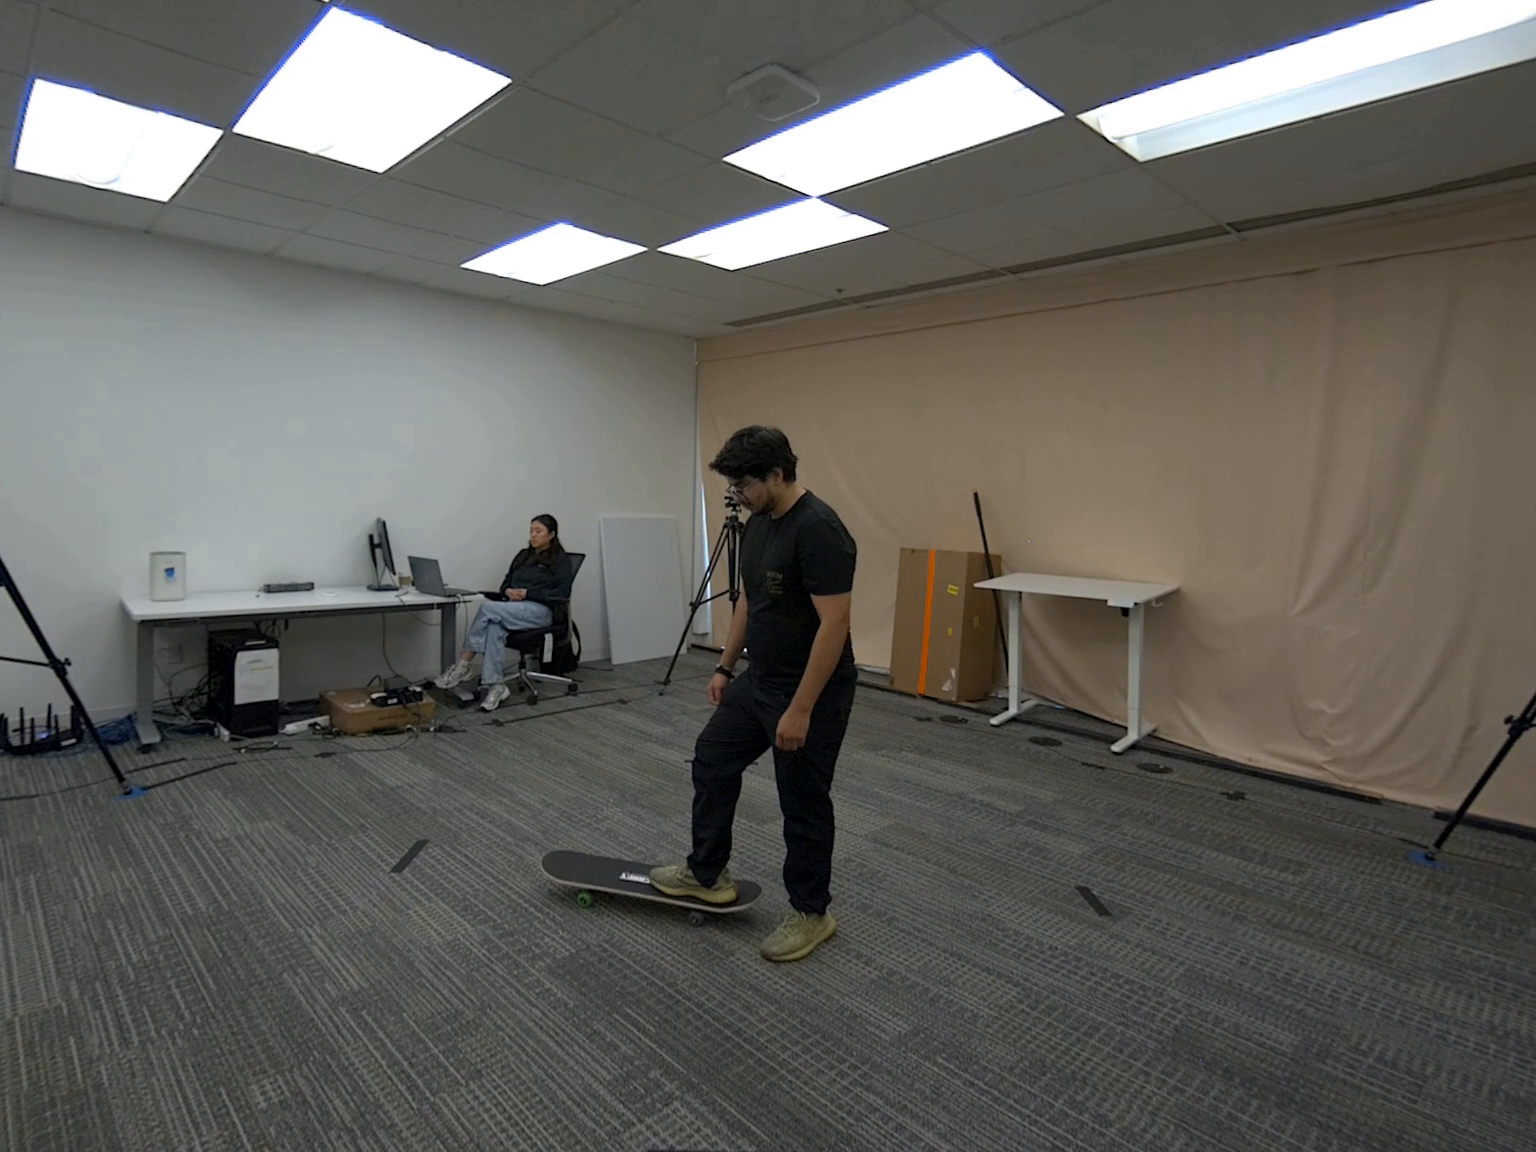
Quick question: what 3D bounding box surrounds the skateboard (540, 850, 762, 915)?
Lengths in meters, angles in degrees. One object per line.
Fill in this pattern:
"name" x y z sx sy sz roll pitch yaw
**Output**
"skateboard" -0.415 1.064 2.850 0.795 0.110 0.192 4 8 15
